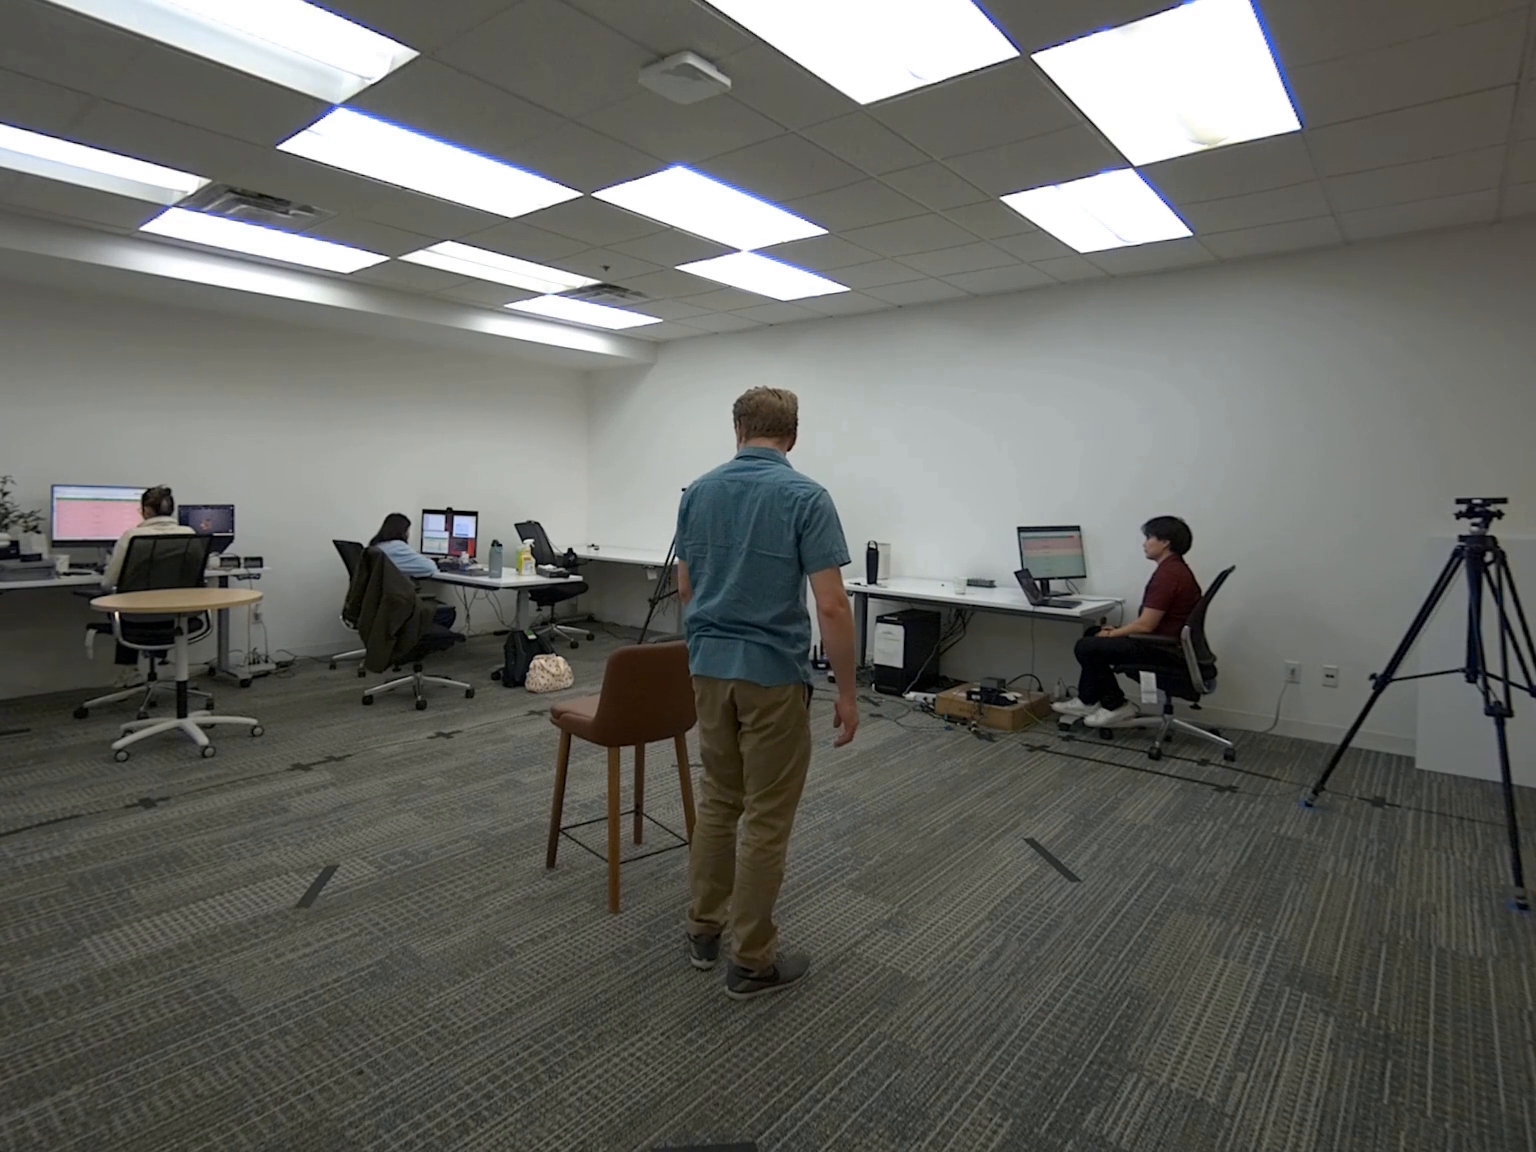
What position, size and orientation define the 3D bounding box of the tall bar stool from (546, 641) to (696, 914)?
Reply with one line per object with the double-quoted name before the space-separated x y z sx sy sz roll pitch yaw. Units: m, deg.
"tall bar stool" -0.511 0.638 3.026 0.442 0.886 0.484 -1 5 -40
